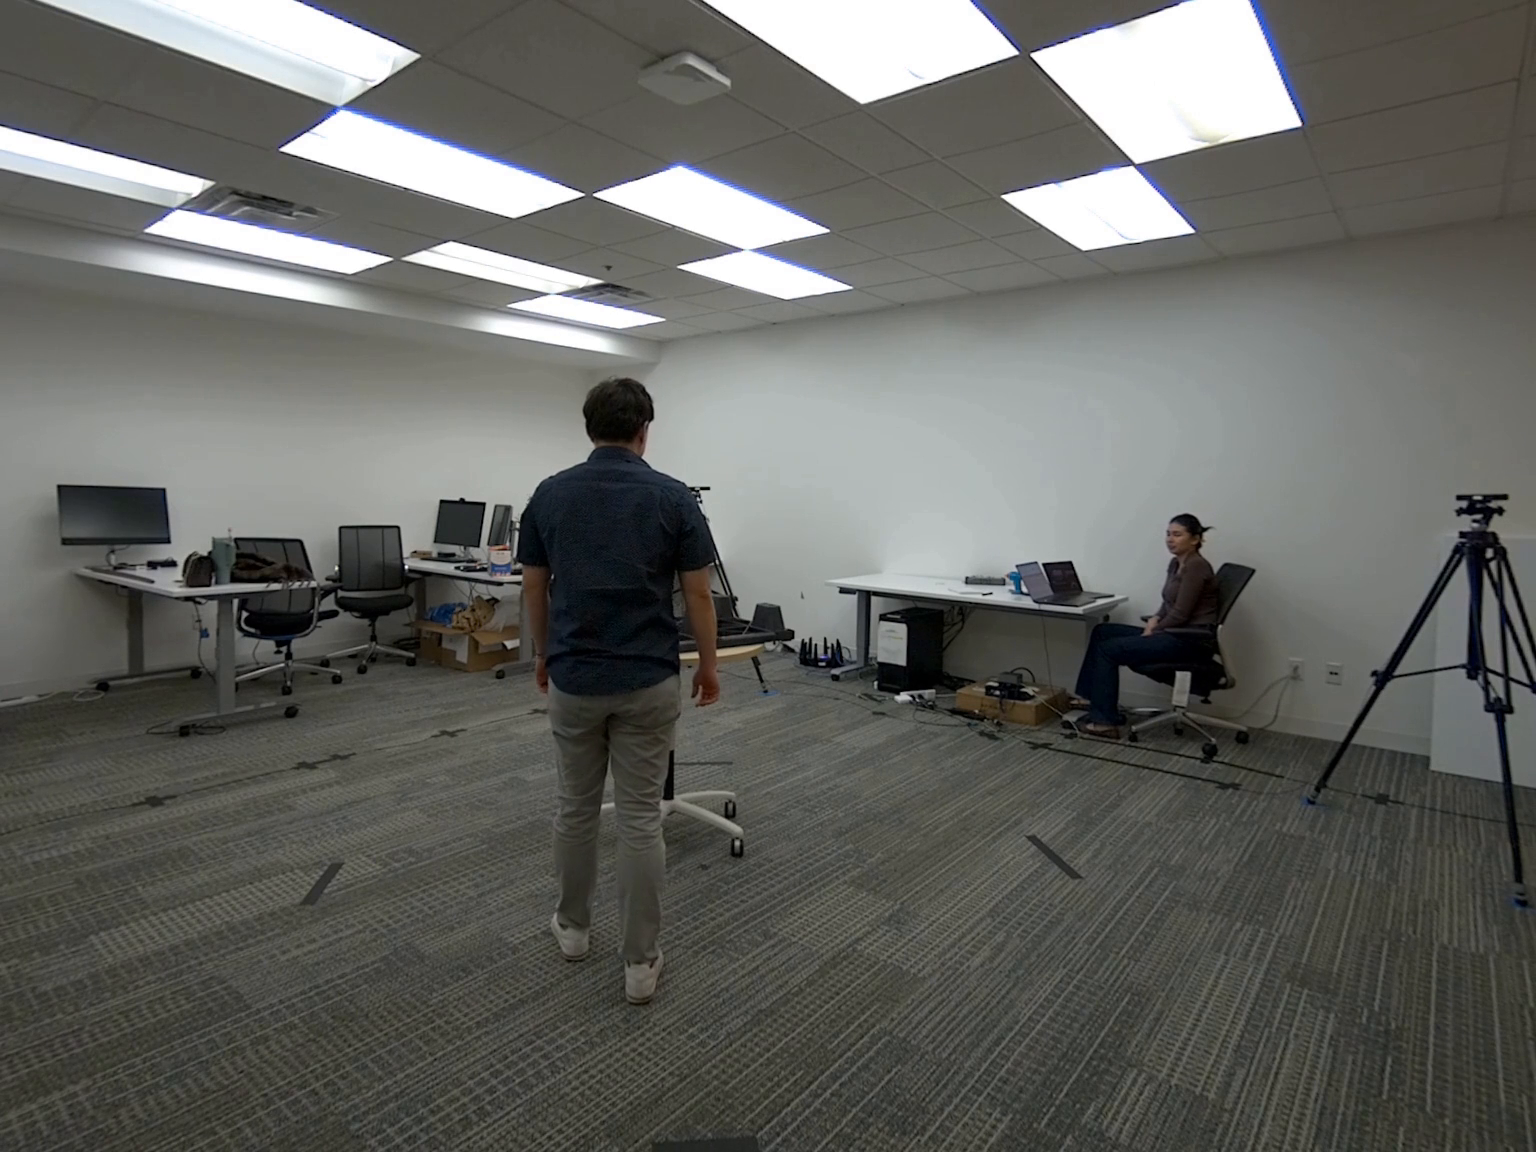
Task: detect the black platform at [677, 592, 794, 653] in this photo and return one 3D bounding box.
[{"bbox_3d":[-0.391,0.182,3.439,0.783,0.142,0.625,-4,8,-34],"label":"black platform"}]
